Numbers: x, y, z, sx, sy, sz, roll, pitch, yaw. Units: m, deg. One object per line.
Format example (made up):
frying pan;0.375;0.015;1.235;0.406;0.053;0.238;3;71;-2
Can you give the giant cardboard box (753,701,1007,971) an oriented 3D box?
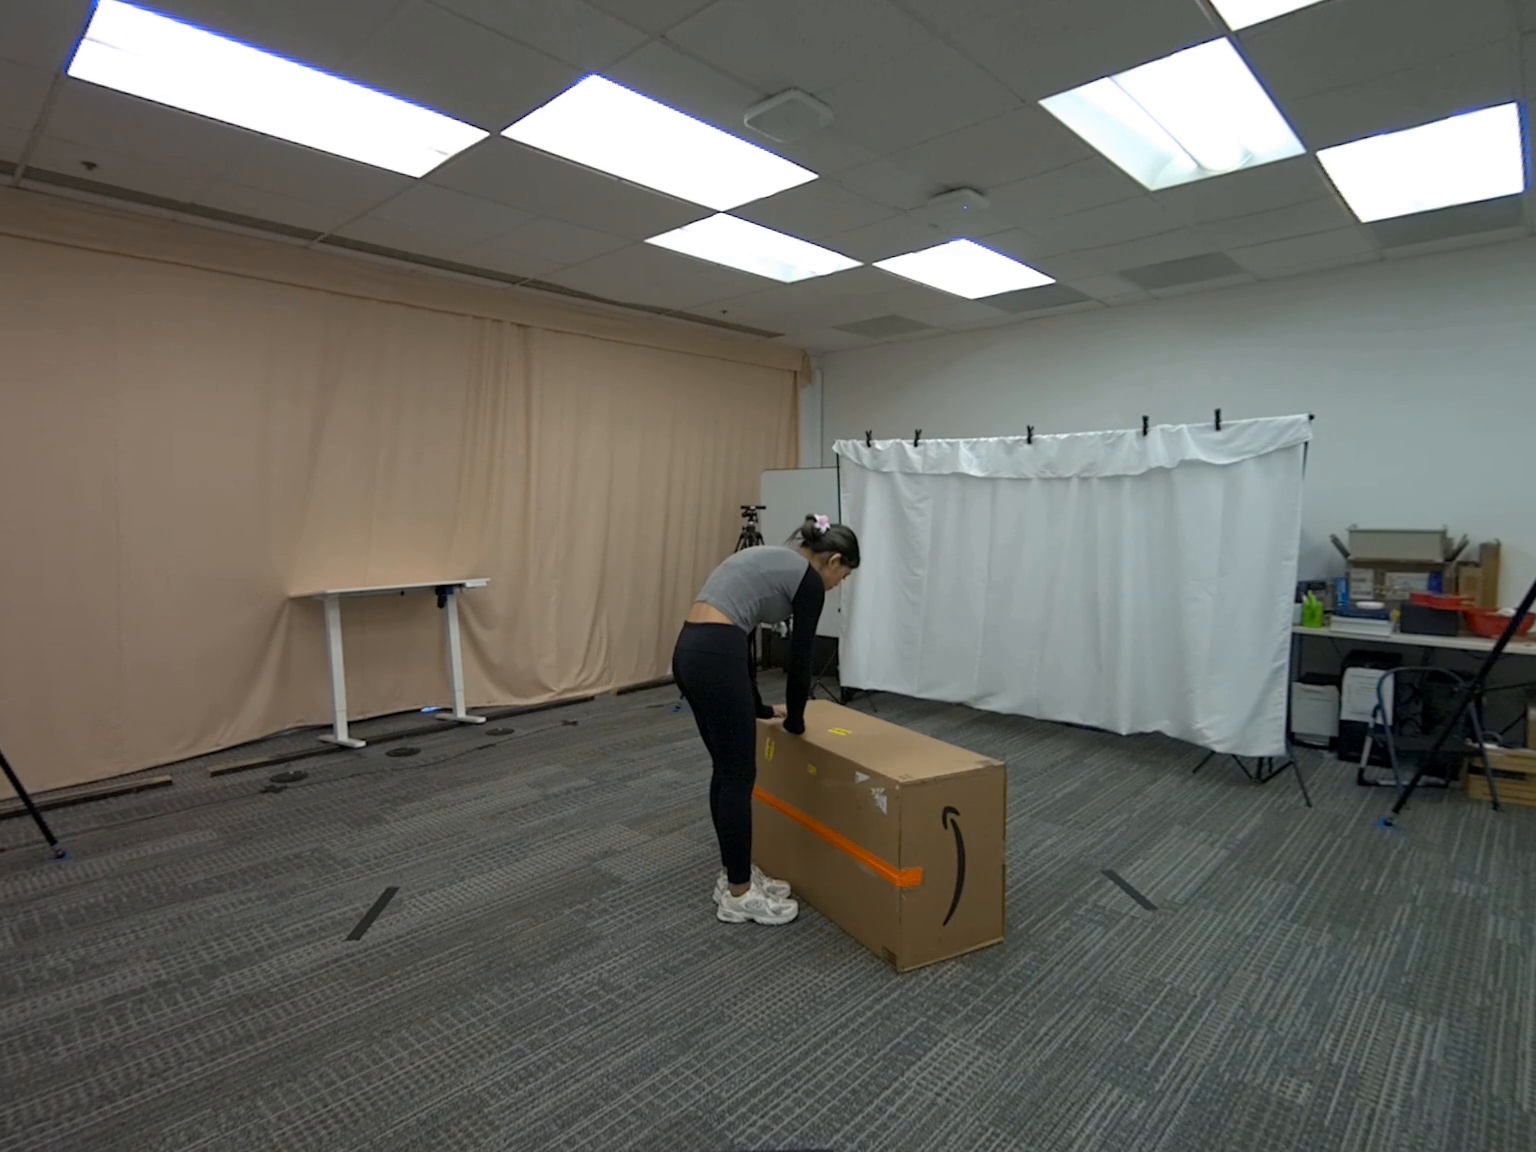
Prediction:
giant cardboard box;0.319;0.850;3.033;0.415;0.576;1.055;-2;4;-29
